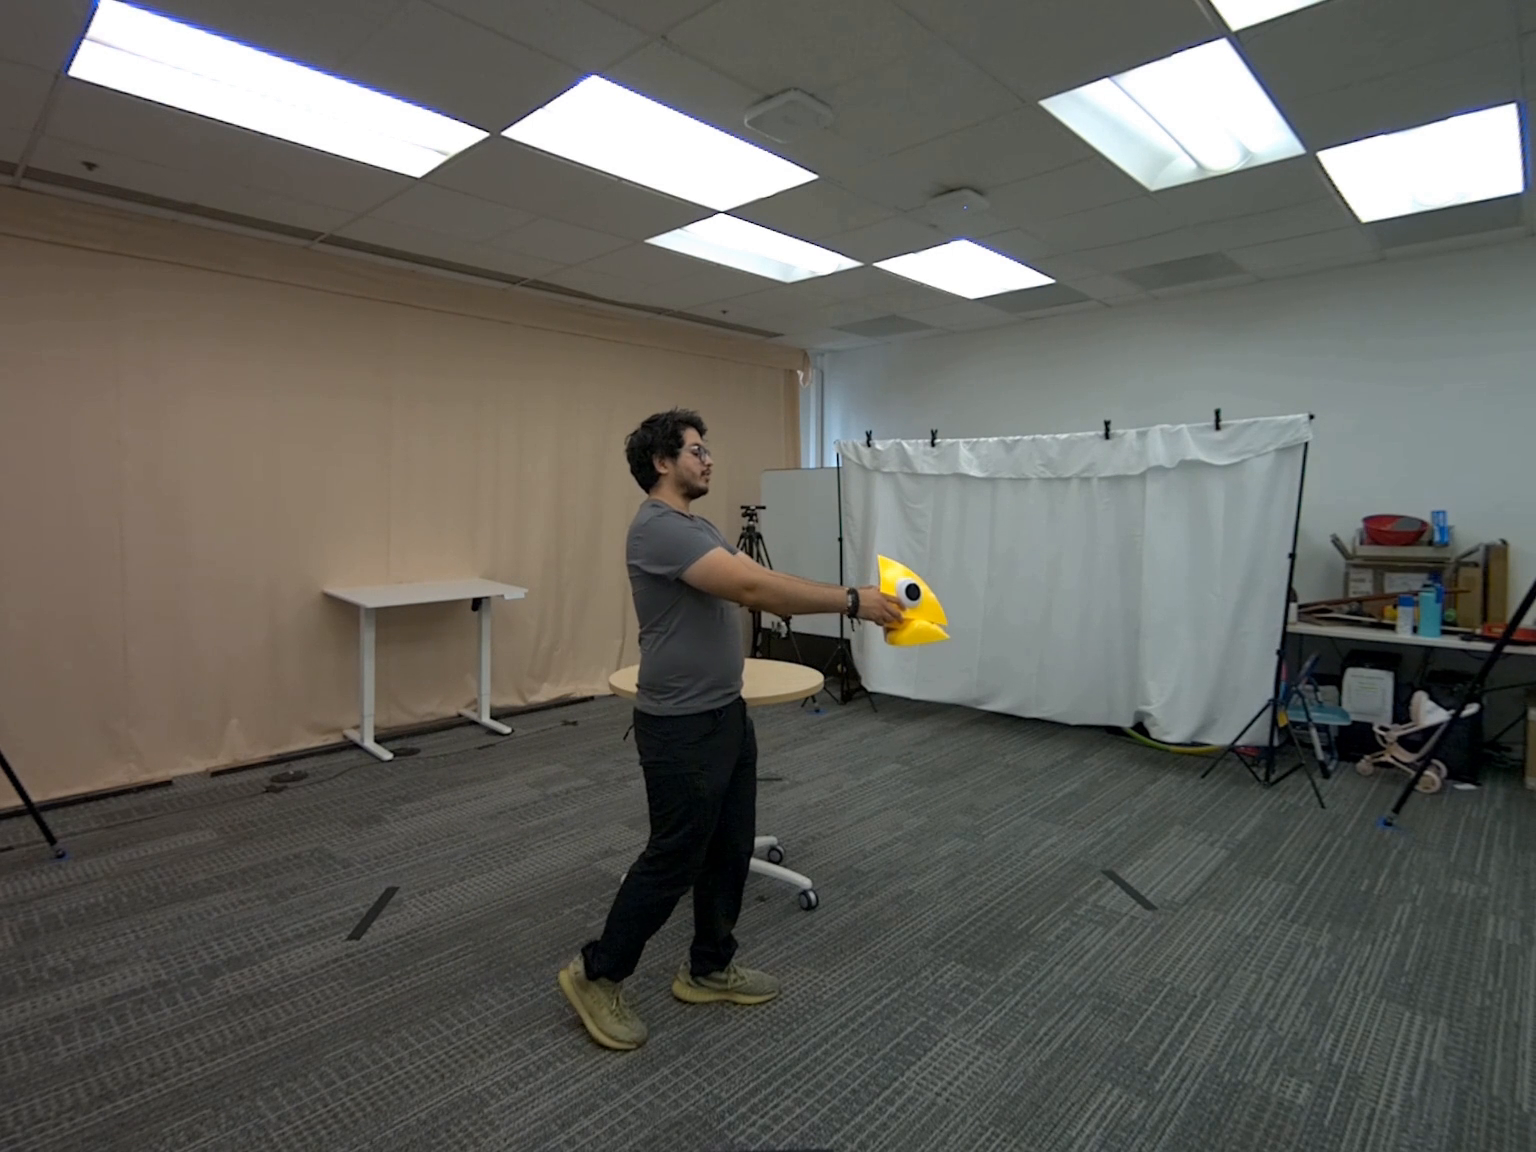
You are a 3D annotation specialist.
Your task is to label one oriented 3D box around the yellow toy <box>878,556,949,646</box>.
[{"bbox_3d":[0.373,0.055,2.213,0.194,0.230,0.203,-7,2,7],"label":"yellow toy"}]
